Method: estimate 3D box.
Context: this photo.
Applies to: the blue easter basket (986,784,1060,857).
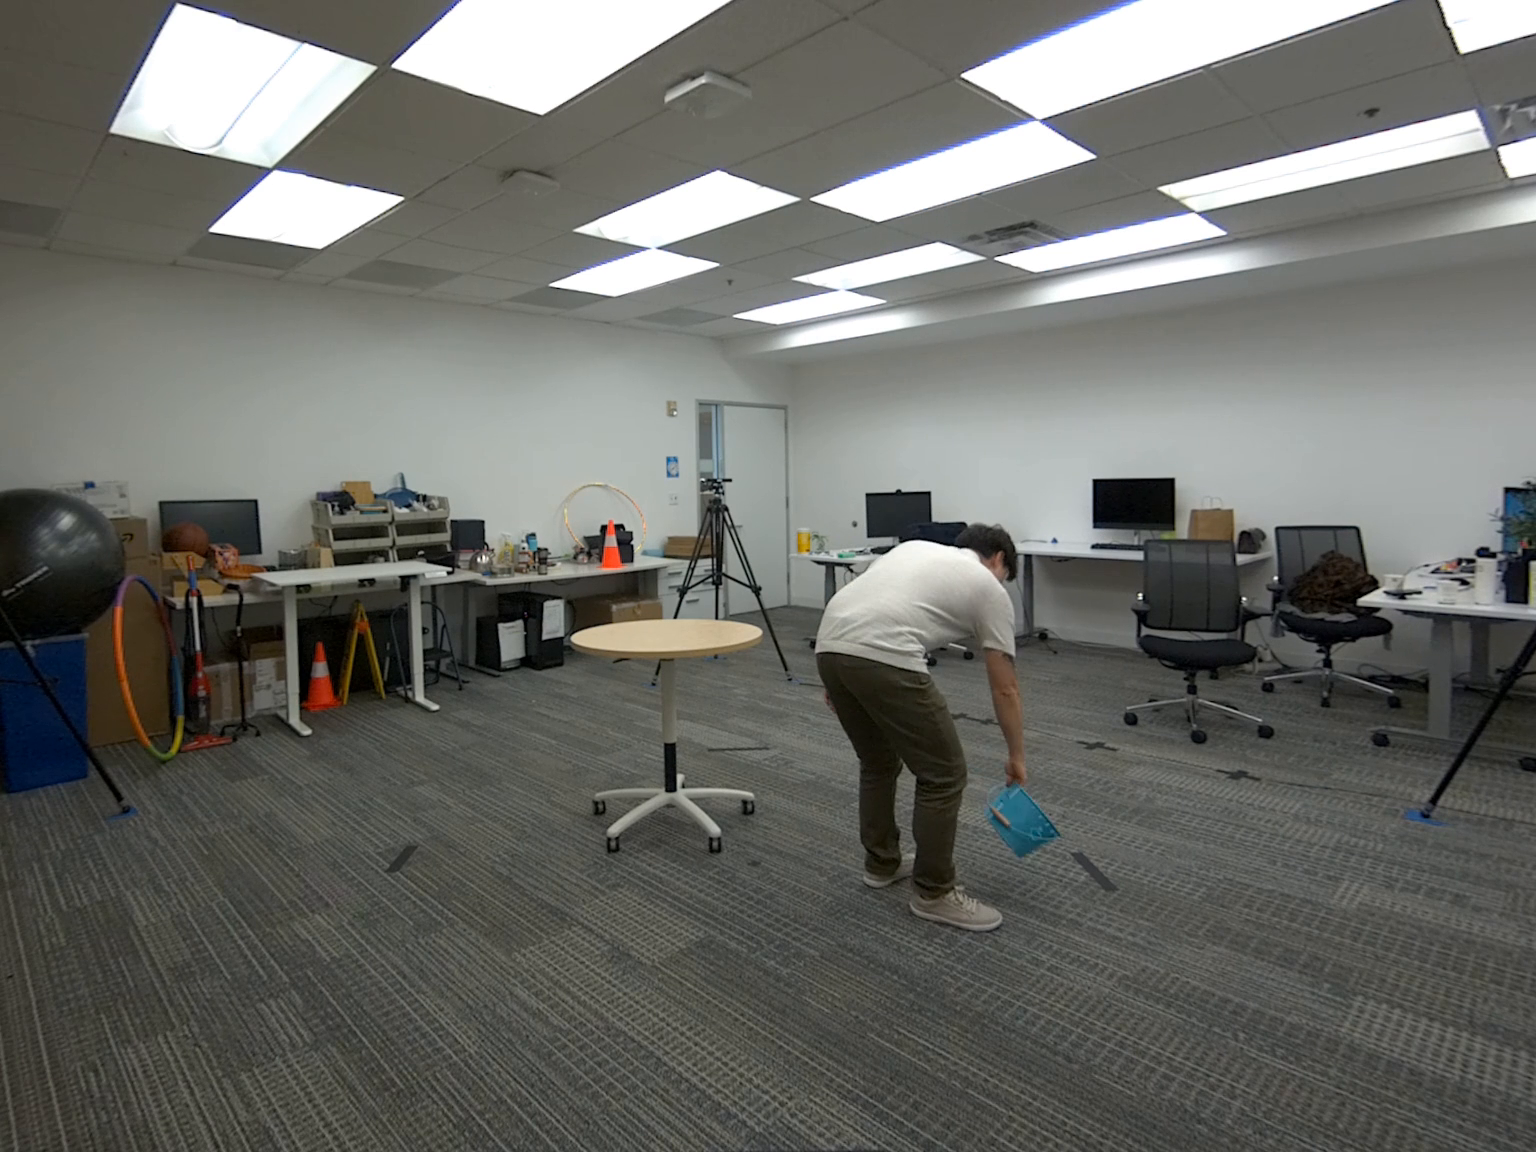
[{"bbox_3d":[0.821,0.794,2.848,0.156,0.242,0.245,-31,5,0],"label":"blue easter basket"}]
